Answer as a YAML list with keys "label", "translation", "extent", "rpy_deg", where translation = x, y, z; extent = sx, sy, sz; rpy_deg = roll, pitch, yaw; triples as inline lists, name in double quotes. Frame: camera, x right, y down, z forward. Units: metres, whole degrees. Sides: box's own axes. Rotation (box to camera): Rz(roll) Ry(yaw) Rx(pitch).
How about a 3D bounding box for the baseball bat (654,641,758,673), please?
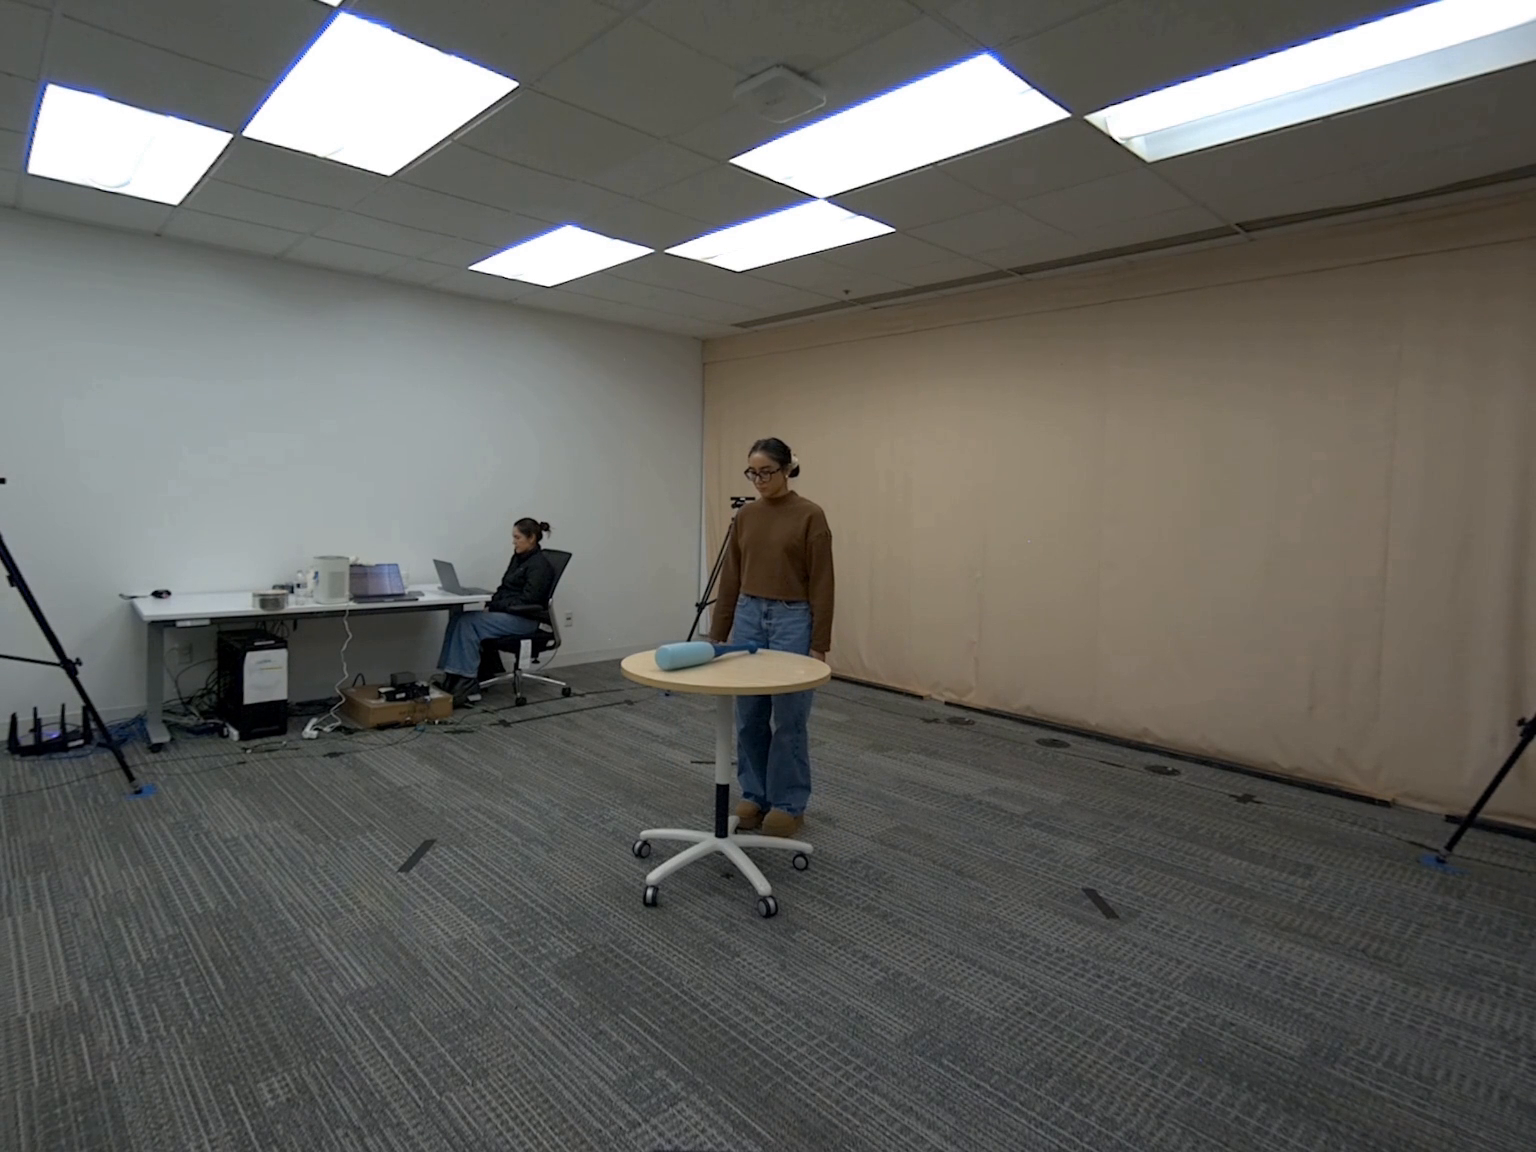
- label: "baseball bat"
  translation: [-0.215, 0.290, 3.122]
  extent: [0.091, 0.089, 0.530]
  rpy_deg: [4, 2, 36]
